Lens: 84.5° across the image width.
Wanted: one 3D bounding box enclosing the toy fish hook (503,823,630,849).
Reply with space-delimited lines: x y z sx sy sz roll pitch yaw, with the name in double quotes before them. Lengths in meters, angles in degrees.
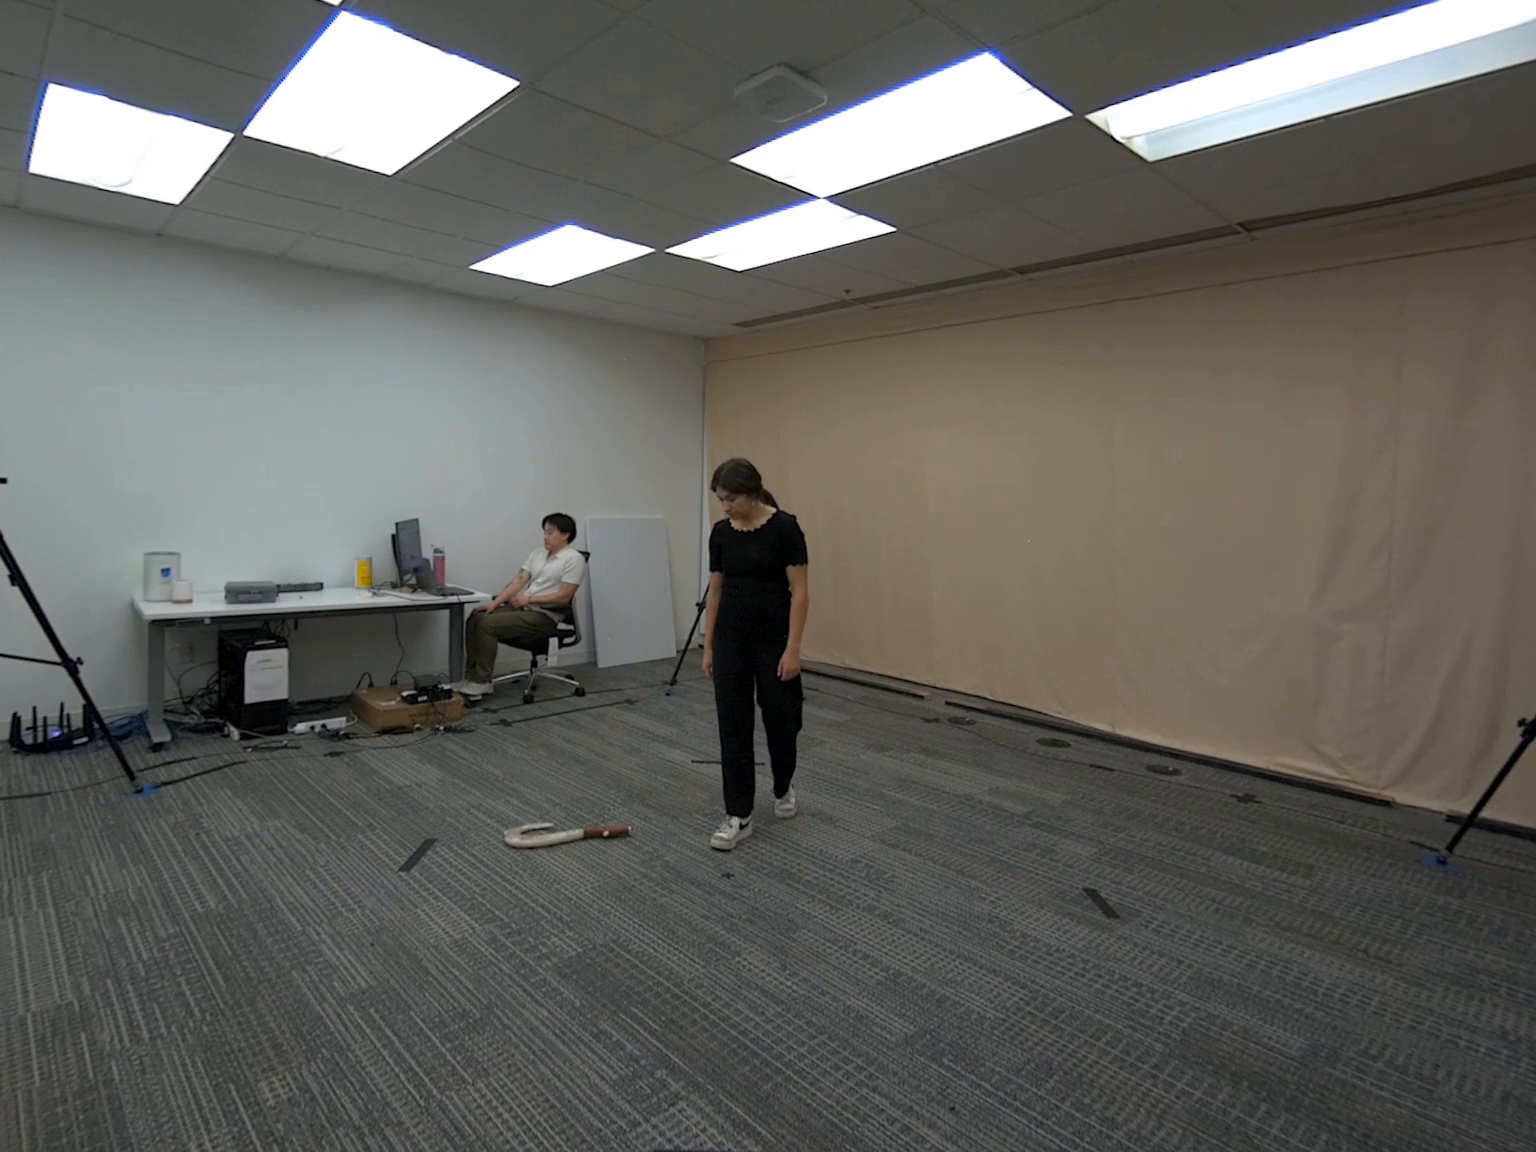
"toy fish hook" -0.824 1.040 3.433 0.500 0.048 0.228 0 6 -16
